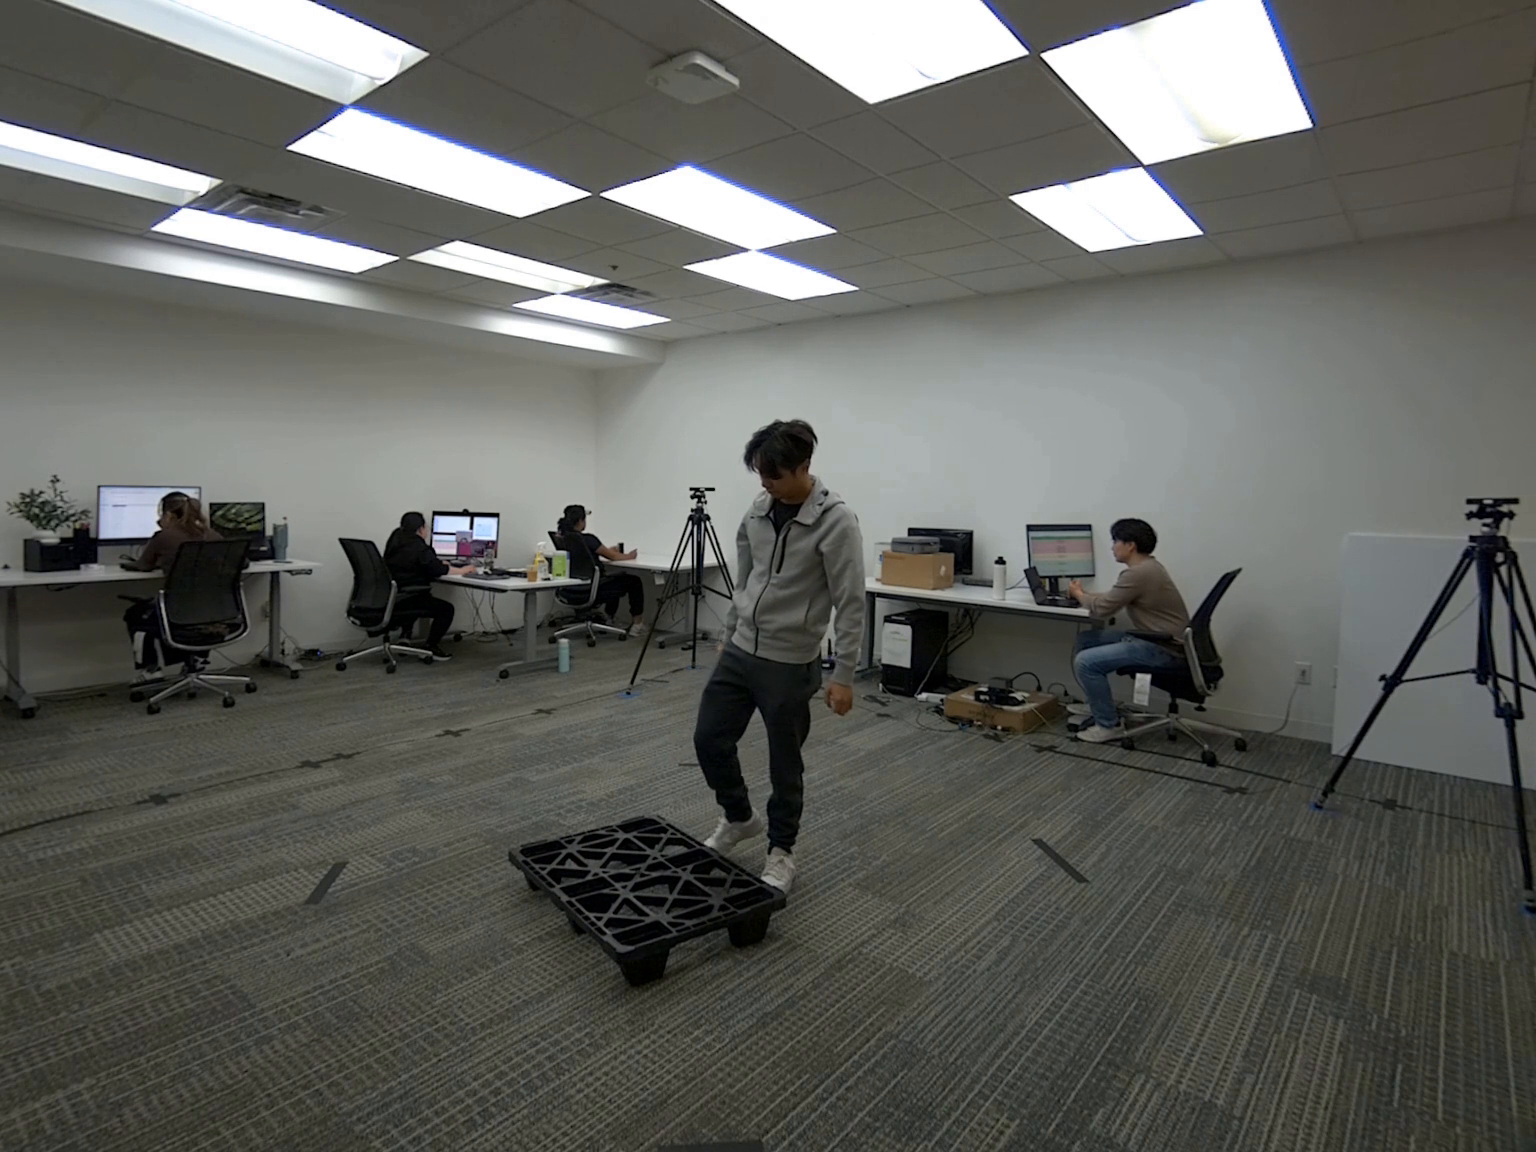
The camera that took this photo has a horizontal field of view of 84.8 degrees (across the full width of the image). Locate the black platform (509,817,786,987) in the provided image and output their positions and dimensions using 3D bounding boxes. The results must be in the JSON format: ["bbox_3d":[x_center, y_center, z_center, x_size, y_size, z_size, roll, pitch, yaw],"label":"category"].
[{"bbox_3d":[-0.428,1.028,2.790,0.587,0.143,0.833,-2,7,-37],"label":"black platform"}]
